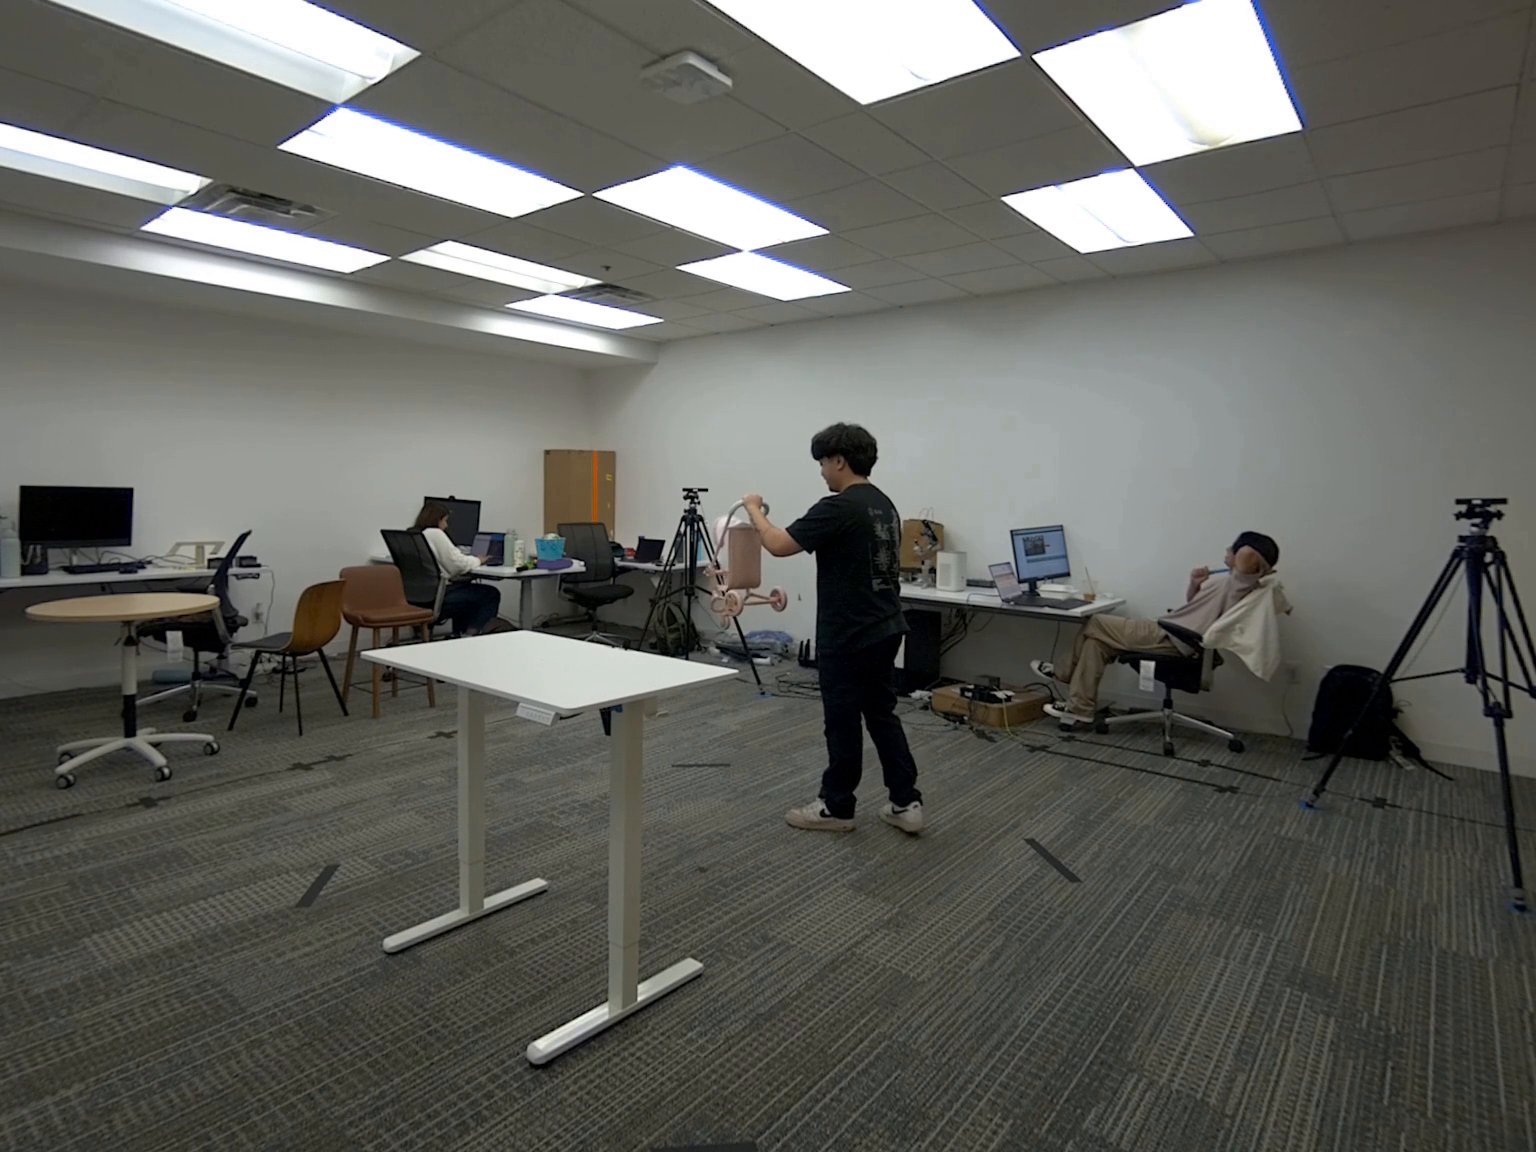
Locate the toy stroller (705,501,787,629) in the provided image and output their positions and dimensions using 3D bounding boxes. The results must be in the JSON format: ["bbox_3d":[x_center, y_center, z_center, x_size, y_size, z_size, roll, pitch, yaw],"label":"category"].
[{"bbox_3d":[-0.142,-0.042,3.720,0.274,0.538,0.349,-4,-5,-35],"label":"toy stroller"}]
